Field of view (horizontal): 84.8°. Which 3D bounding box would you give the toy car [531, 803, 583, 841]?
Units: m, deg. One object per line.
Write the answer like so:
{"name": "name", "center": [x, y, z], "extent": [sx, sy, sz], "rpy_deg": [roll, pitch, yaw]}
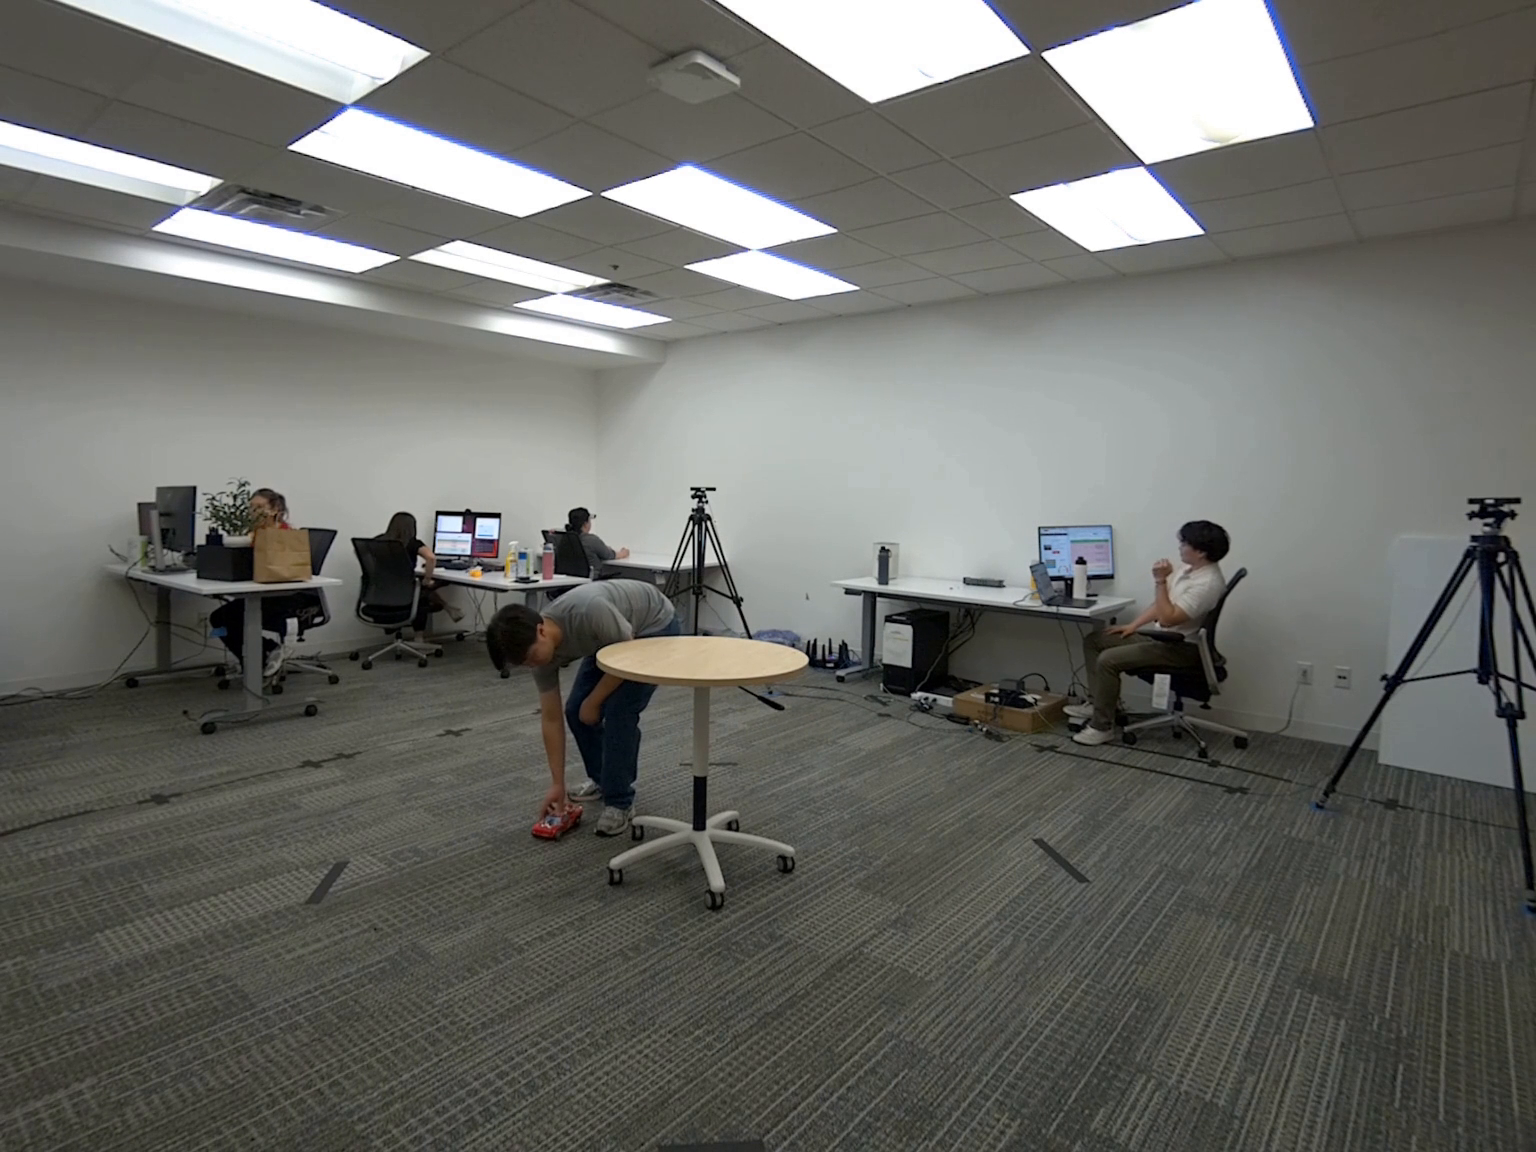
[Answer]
{"name": "toy car", "center": [-0.859, 0.995, 3.437], "extent": [0.133, 0.082, 0.253], "rpy_deg": [1, 15, 19]}
